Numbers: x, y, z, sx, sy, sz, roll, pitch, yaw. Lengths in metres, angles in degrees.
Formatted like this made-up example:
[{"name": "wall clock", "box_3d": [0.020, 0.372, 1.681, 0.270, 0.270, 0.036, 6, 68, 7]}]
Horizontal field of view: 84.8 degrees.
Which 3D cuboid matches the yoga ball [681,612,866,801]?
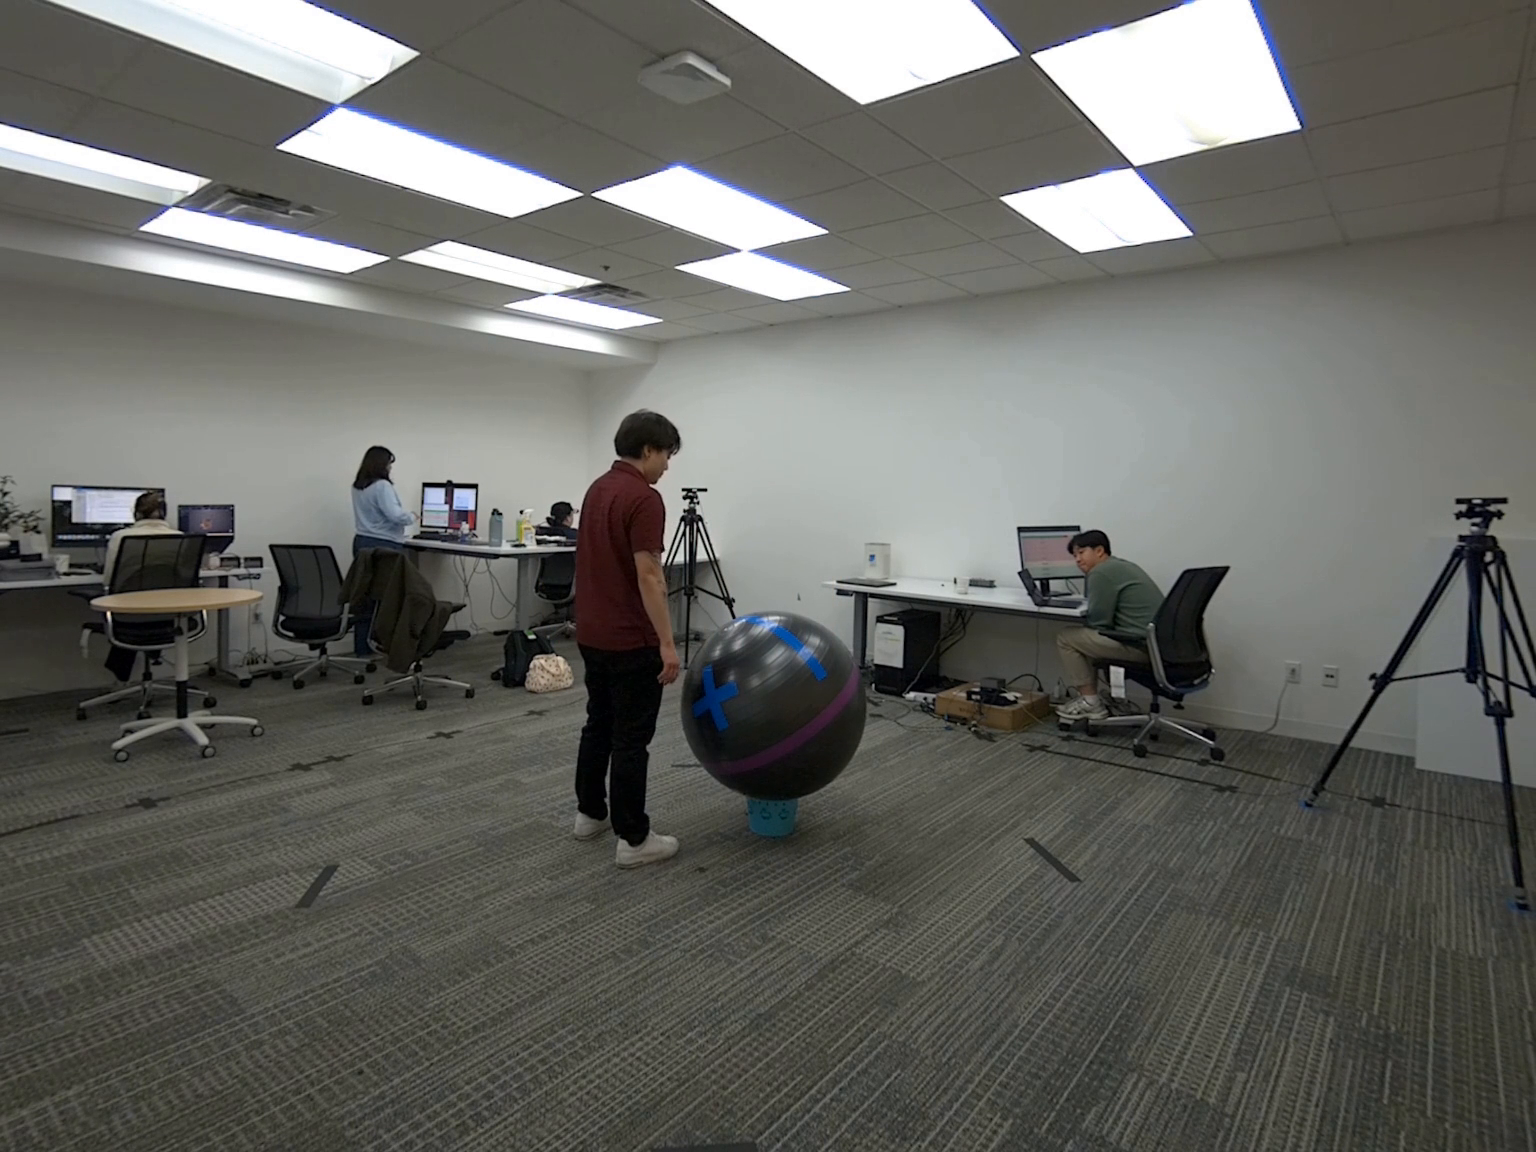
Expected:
[{"name": "yoga ball", "box_3d": [0.017, 0.527, 3.491, 0.757, 0.755, 0.762, 1, 4, -2]}]
